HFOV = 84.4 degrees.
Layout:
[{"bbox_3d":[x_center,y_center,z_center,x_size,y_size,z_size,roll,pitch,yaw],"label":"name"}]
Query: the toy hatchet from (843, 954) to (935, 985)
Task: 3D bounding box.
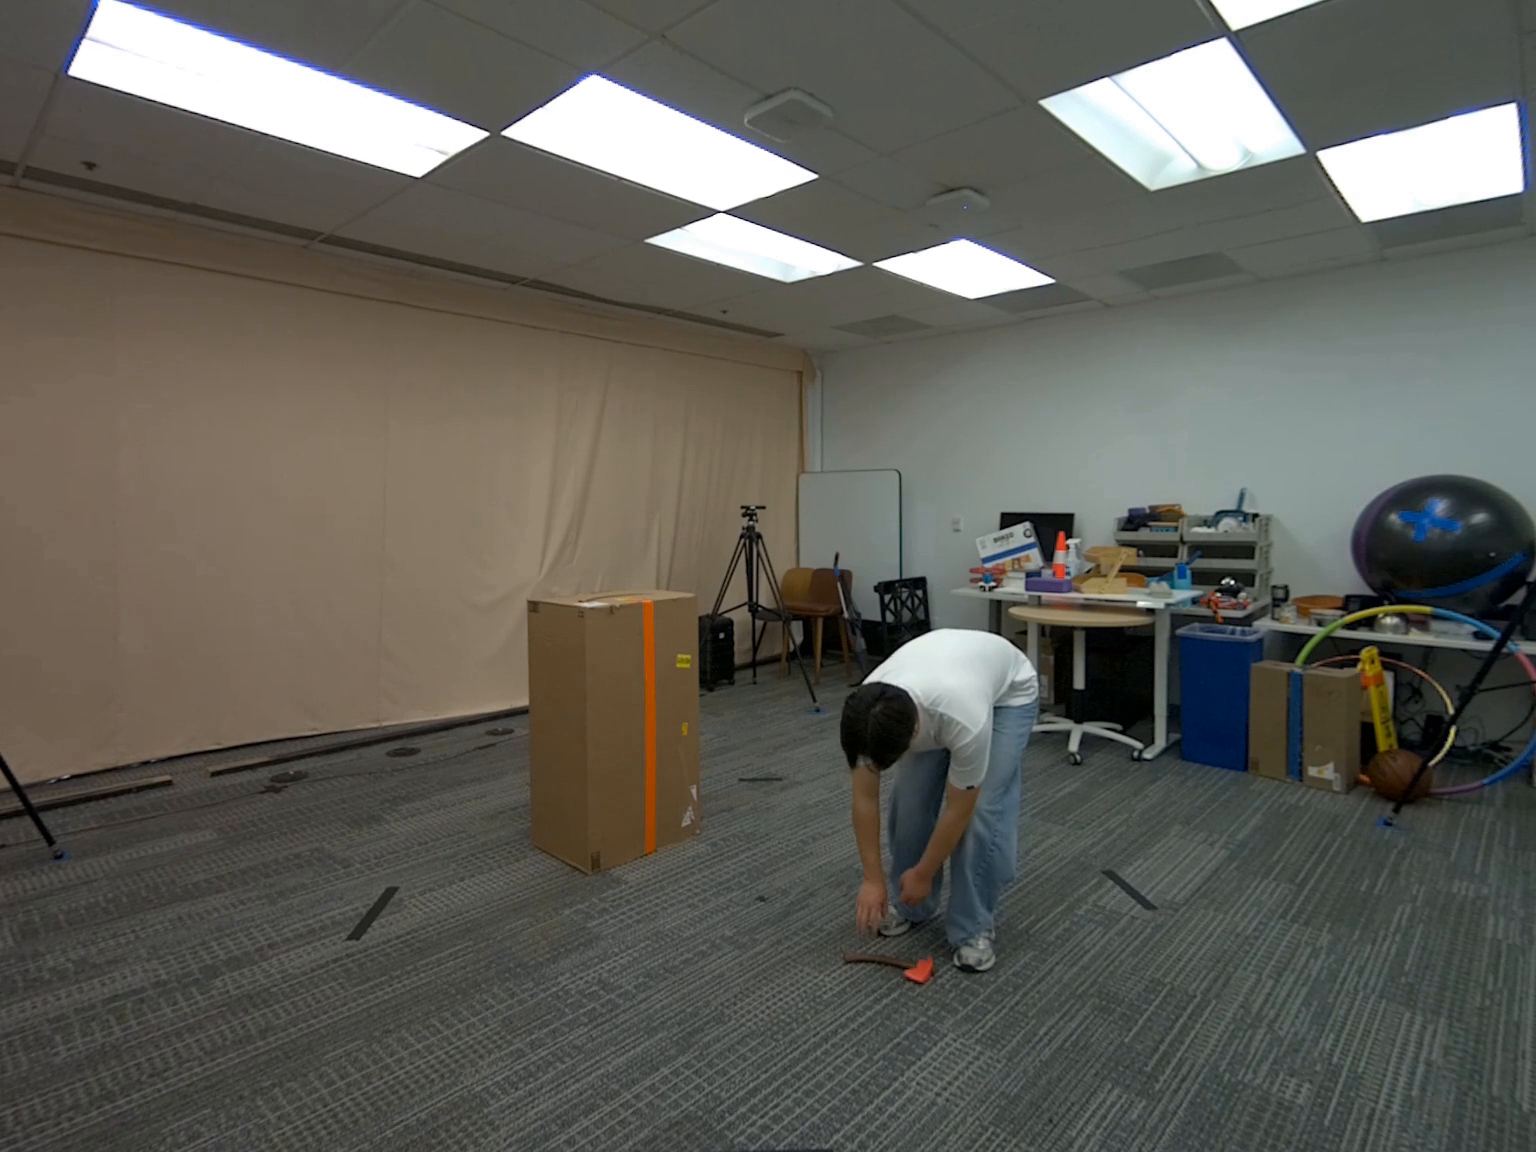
[{"bbox_3d":[0.364,1.174,2.509,0.272,0.029,0.130,-1,5,7],"label":"toy hatchet"}]
